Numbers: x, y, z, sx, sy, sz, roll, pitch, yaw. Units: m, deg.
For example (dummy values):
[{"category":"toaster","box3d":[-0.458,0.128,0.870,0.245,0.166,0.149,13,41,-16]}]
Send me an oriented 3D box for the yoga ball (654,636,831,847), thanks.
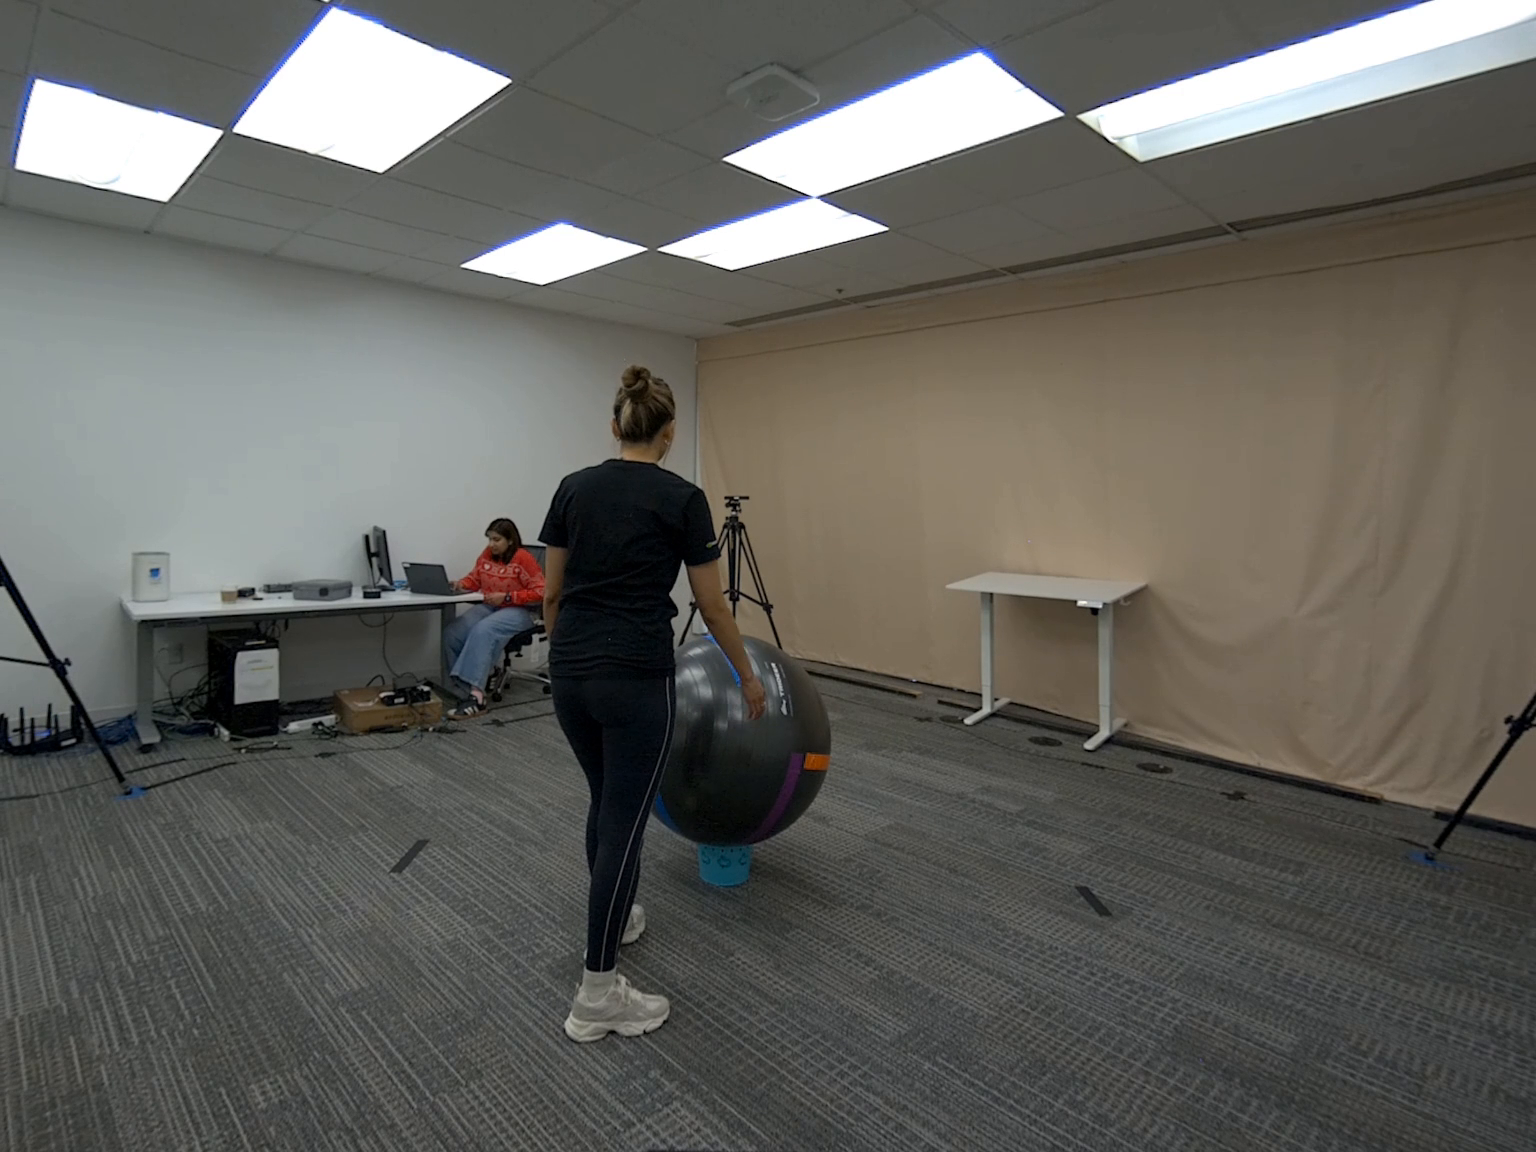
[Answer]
[{"category":"yoga ball","box3d":[-0.149,0.597,3.084,0.757,0.756,0.761,1,4,-1]}]
